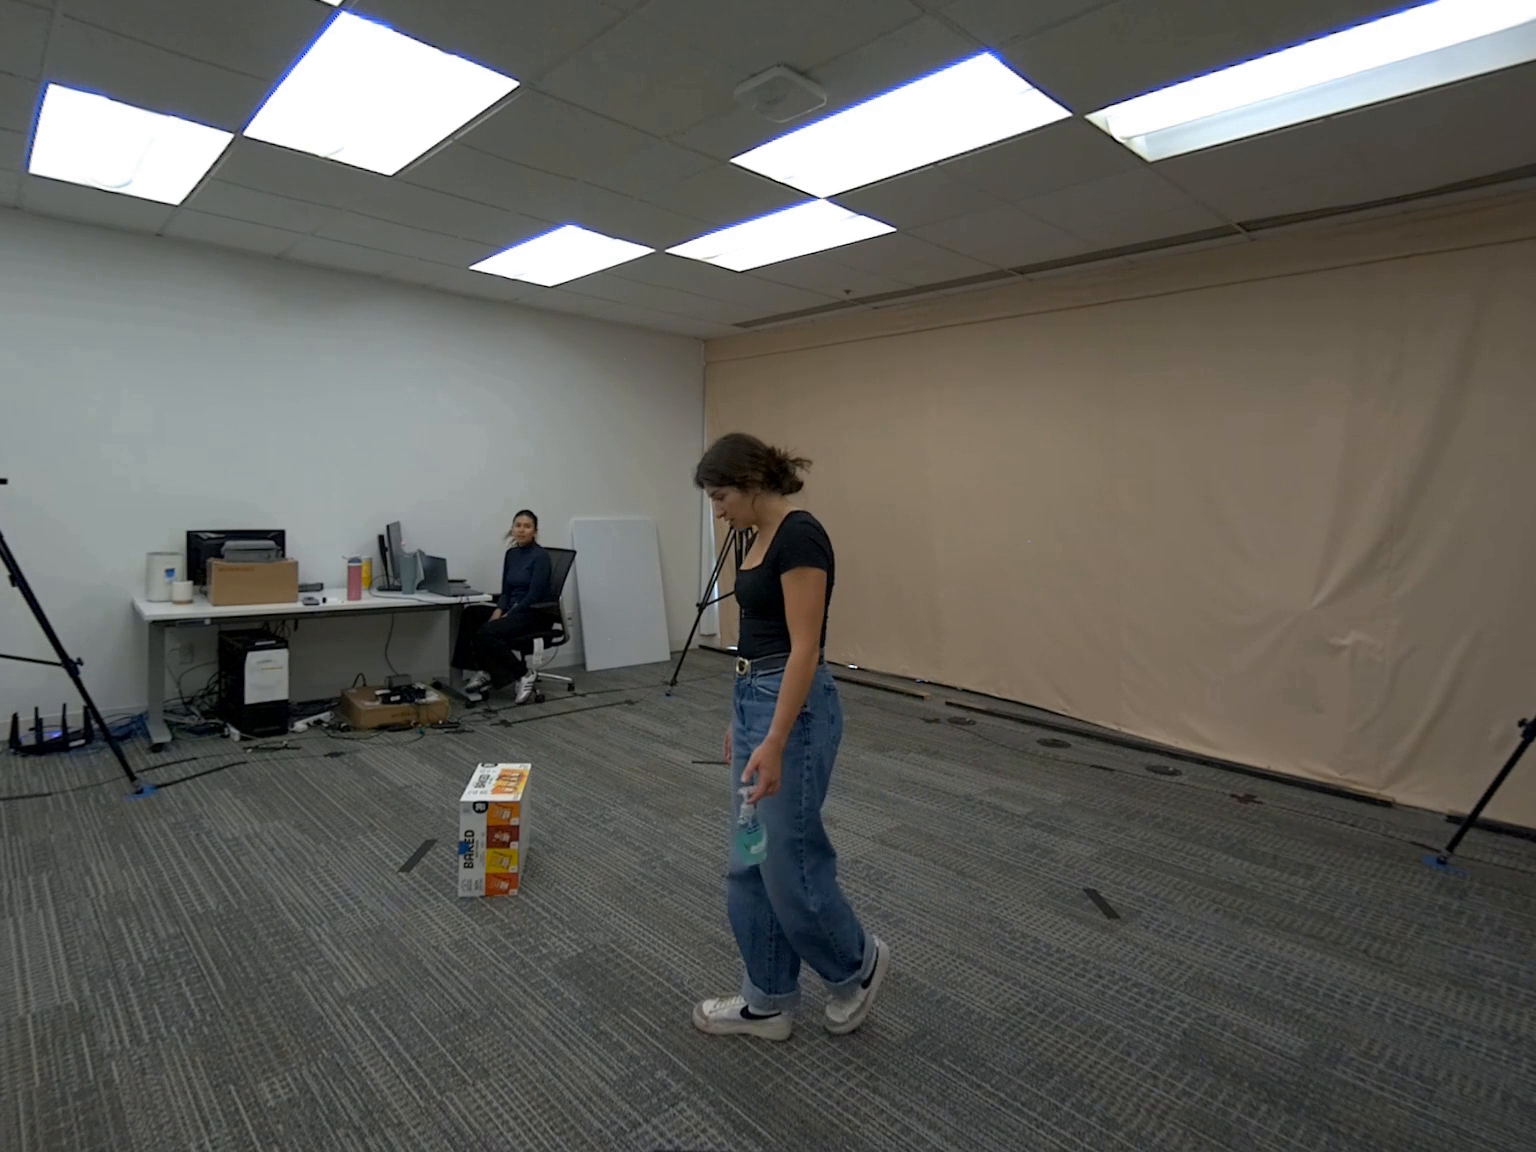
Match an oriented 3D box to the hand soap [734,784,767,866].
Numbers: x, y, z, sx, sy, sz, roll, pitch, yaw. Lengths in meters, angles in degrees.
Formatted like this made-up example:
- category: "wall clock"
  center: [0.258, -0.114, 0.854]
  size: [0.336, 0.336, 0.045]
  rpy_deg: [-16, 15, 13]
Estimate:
- category: "hand soap"
  center: [-0.047, 0.574, 1.899]
  size: [0.044, 0.168, 0.083]
  rpy_deg: [-3, 5, 40]
